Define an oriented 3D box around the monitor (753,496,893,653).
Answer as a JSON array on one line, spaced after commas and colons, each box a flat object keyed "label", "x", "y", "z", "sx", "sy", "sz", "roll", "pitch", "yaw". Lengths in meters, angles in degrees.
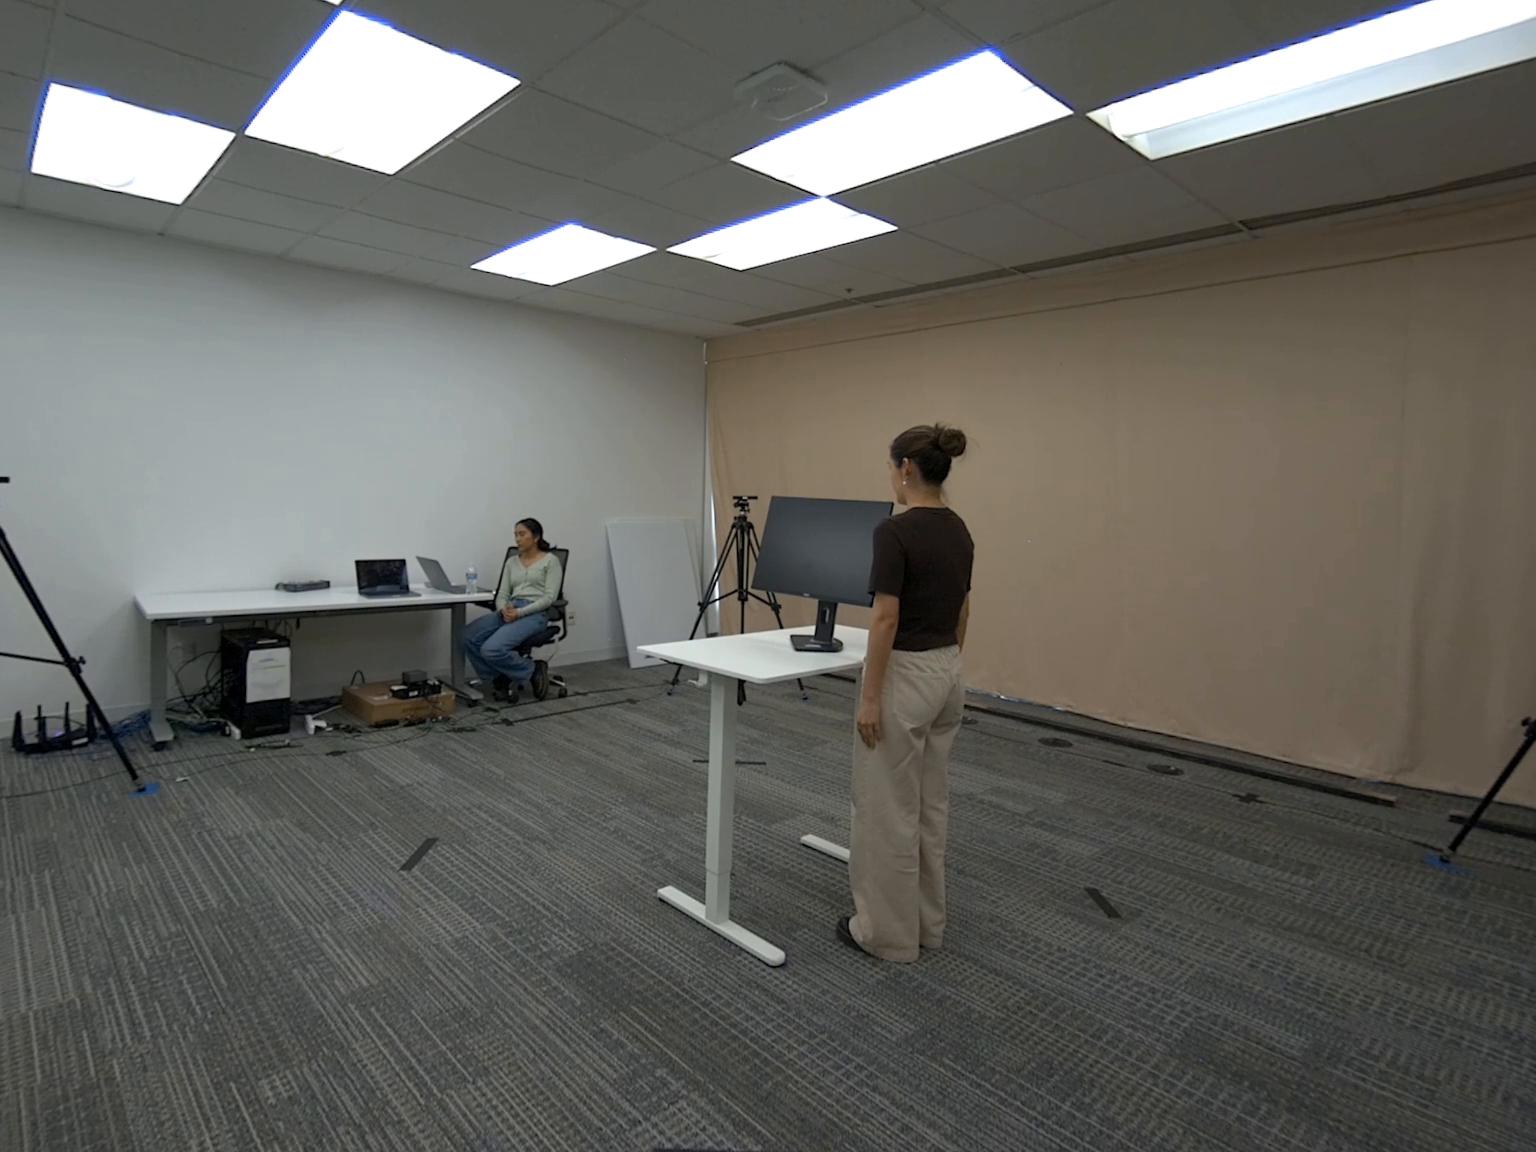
[{"label": "monitor", "x": 0.189, "y": -0.006, "z": 2.917, "sx": 0.553, "sy": 0.521, "sz": 0.183, "roll": 7, "pitch": 7, "yaw": 40}]
